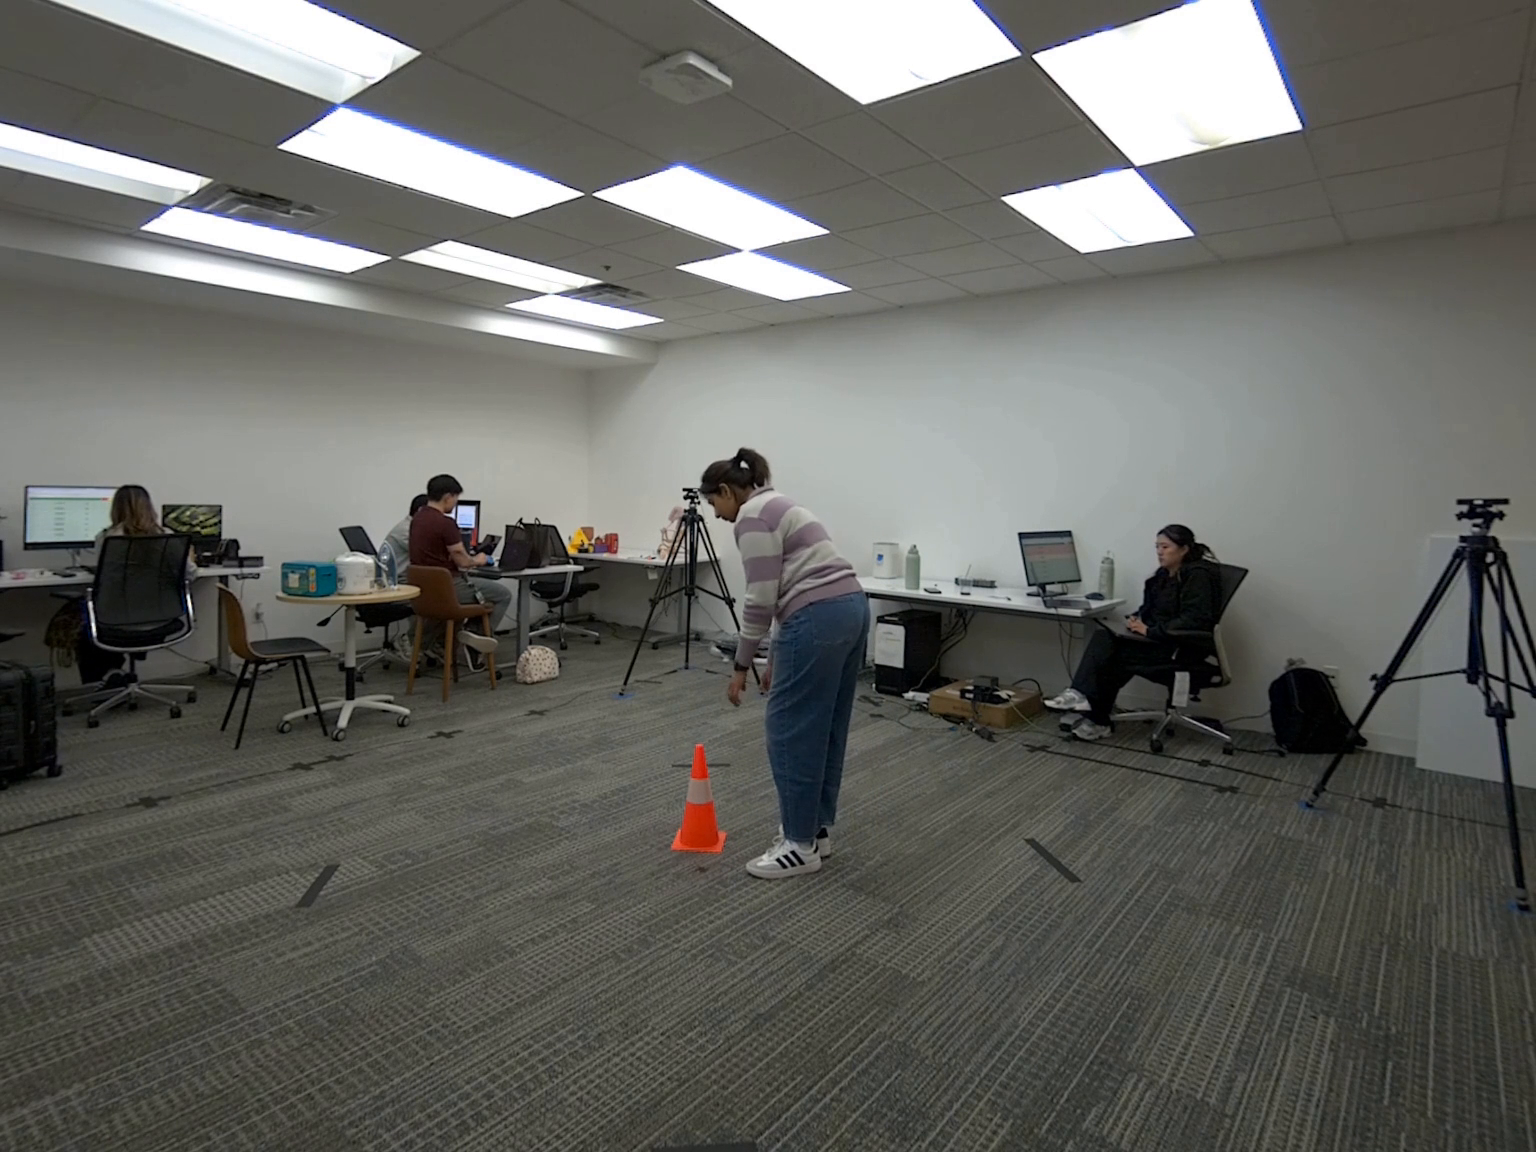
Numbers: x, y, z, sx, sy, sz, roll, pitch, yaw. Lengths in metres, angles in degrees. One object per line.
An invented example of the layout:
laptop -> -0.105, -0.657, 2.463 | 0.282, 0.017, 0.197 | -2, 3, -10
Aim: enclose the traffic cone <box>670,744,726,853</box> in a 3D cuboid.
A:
traffic cone -> -0.272, 0.858, 3.356 | 0.206, 0.383, 0.202 | 2, 3, 6
